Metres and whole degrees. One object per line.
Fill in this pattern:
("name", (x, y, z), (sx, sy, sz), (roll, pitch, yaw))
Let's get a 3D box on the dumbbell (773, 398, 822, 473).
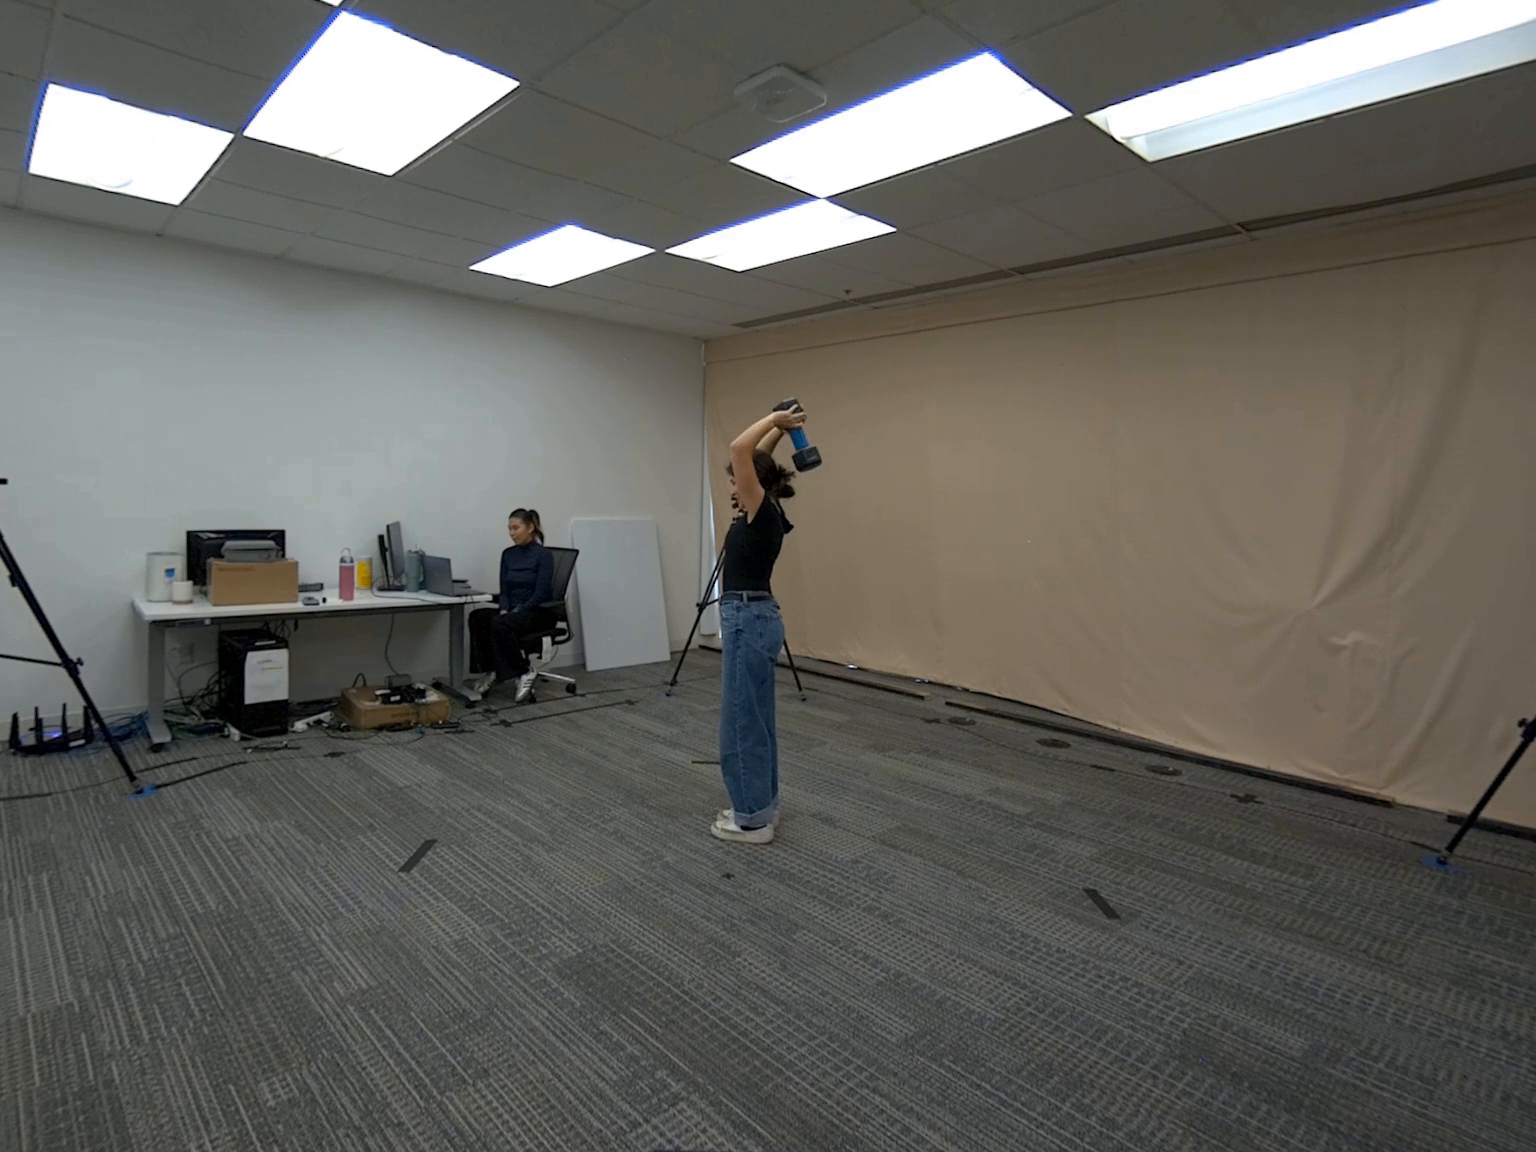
("dumbbell", (0.115, -0.570, 3.439), (0.124, 0.296, 0.106), (-30, -13, 40))
